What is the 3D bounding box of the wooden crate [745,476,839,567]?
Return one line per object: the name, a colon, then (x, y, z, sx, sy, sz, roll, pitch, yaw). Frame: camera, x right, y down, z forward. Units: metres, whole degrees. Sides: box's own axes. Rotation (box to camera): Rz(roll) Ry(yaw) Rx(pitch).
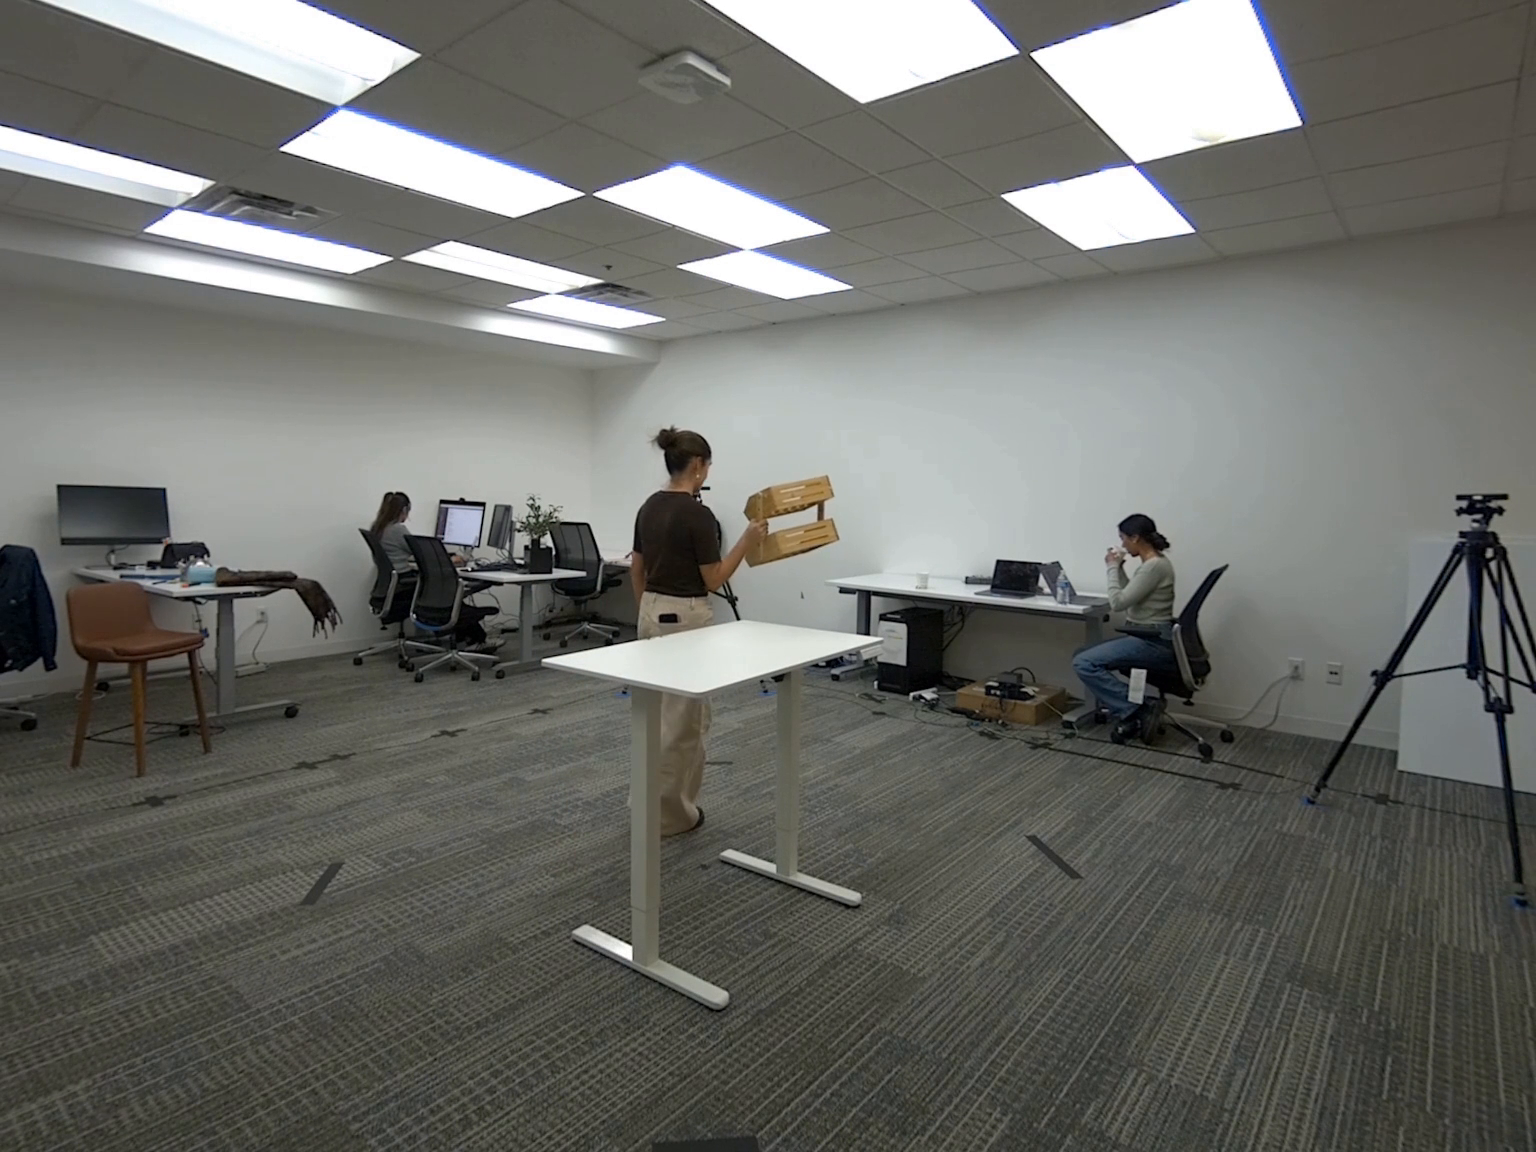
wooden crate: (0.065, -0.223, 3.436, 0.317, 0.275, 0.307, -15, -5, -34)
